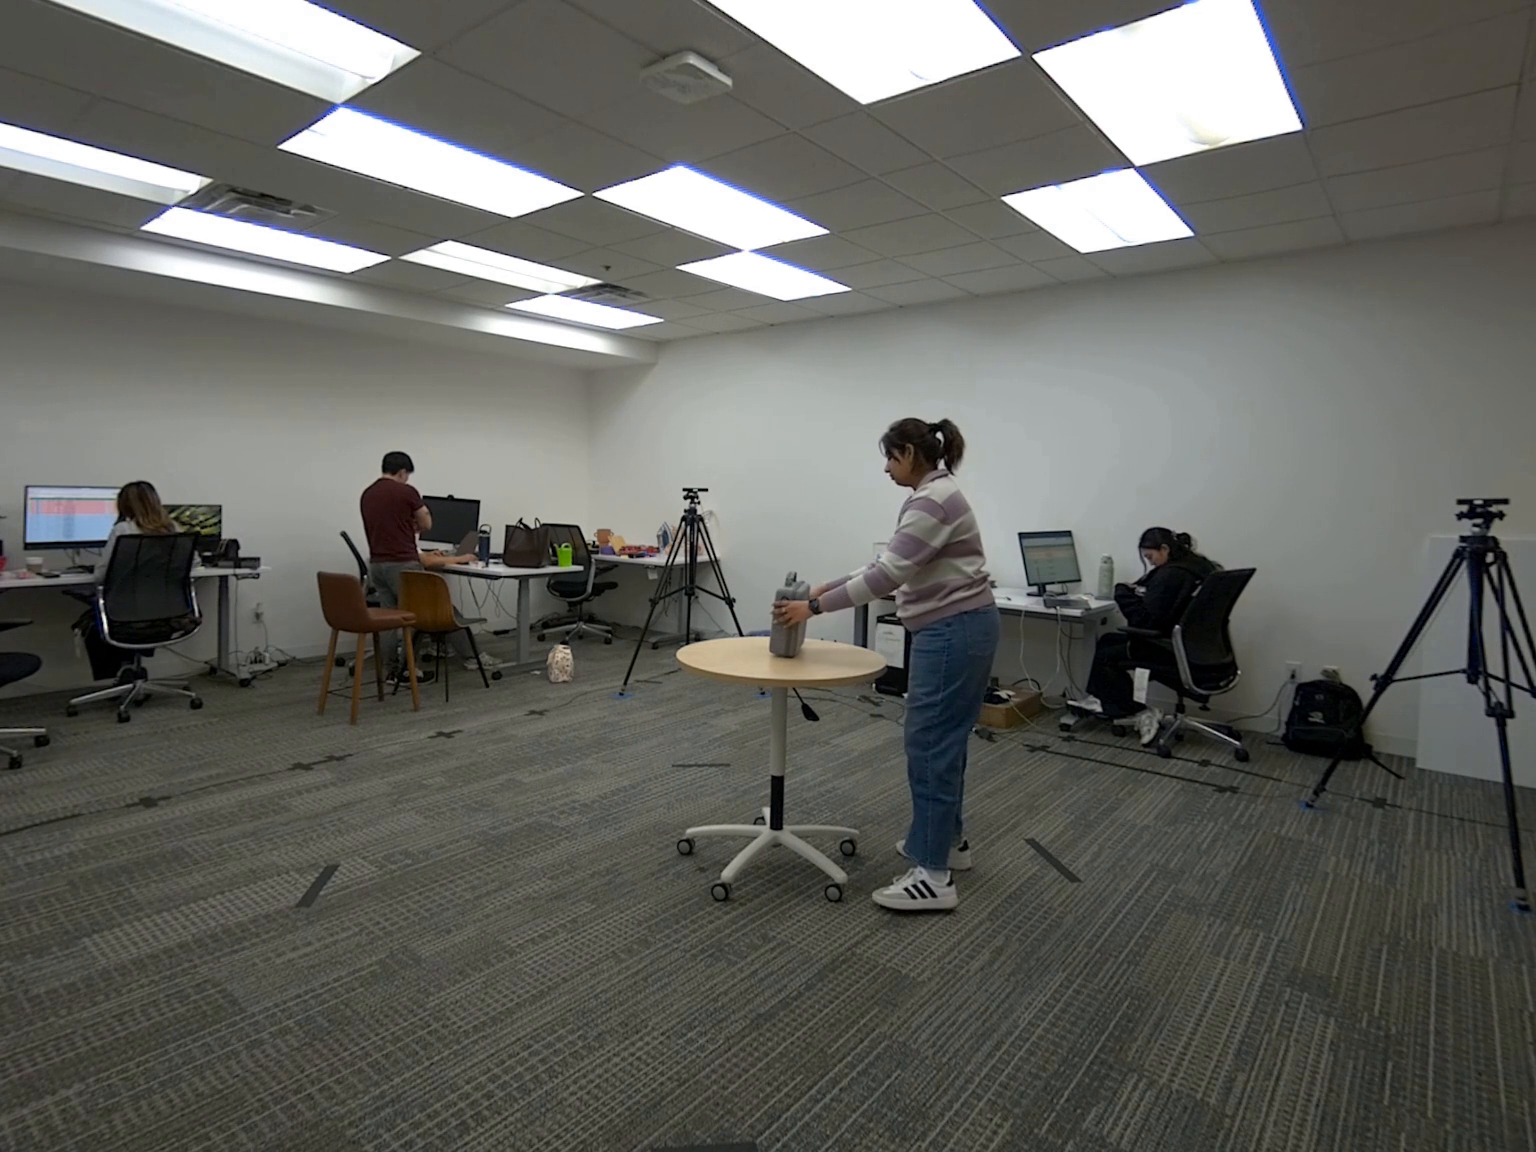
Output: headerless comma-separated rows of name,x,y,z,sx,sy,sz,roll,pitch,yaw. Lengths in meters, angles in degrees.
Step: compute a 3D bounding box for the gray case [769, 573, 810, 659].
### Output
gray case,0.076,0.149,3.175,0.106,0.259,0.254,5,7,13
